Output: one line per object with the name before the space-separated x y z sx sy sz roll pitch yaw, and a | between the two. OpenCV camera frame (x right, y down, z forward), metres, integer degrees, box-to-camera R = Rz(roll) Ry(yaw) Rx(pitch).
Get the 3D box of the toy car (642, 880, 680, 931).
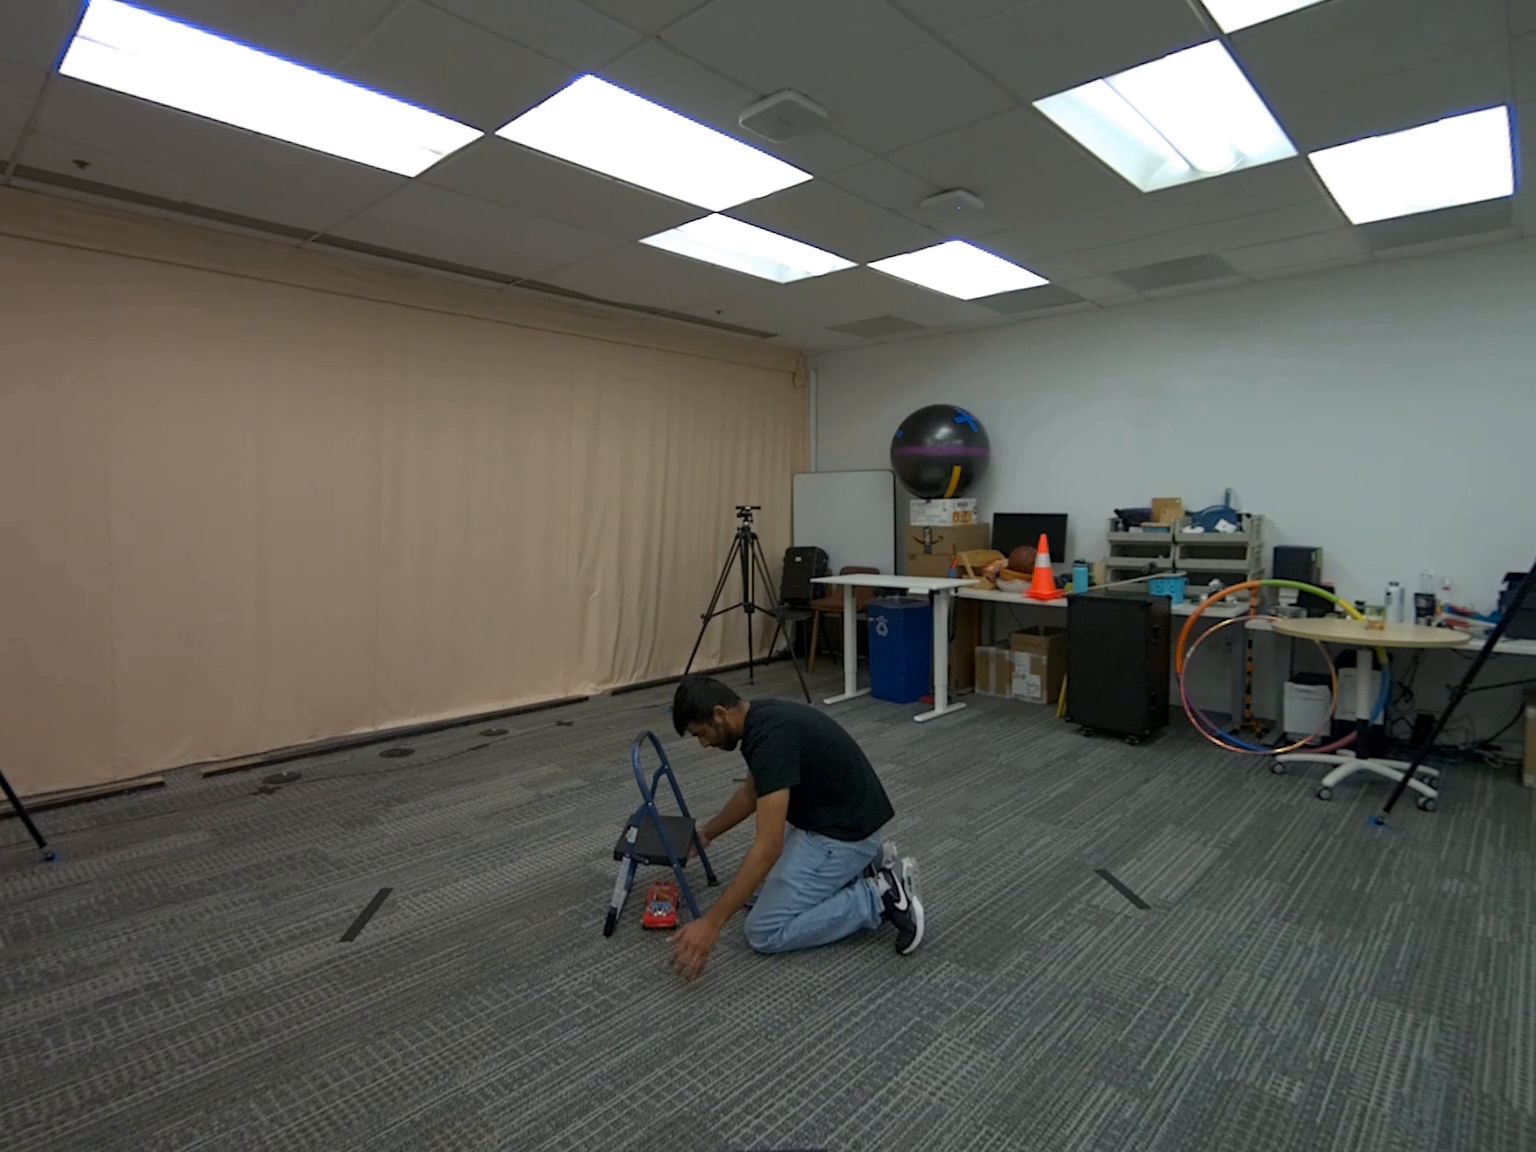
toy car | -0.364 1.130 2.883 0.130 0.082 0.257 -1 13 -2
